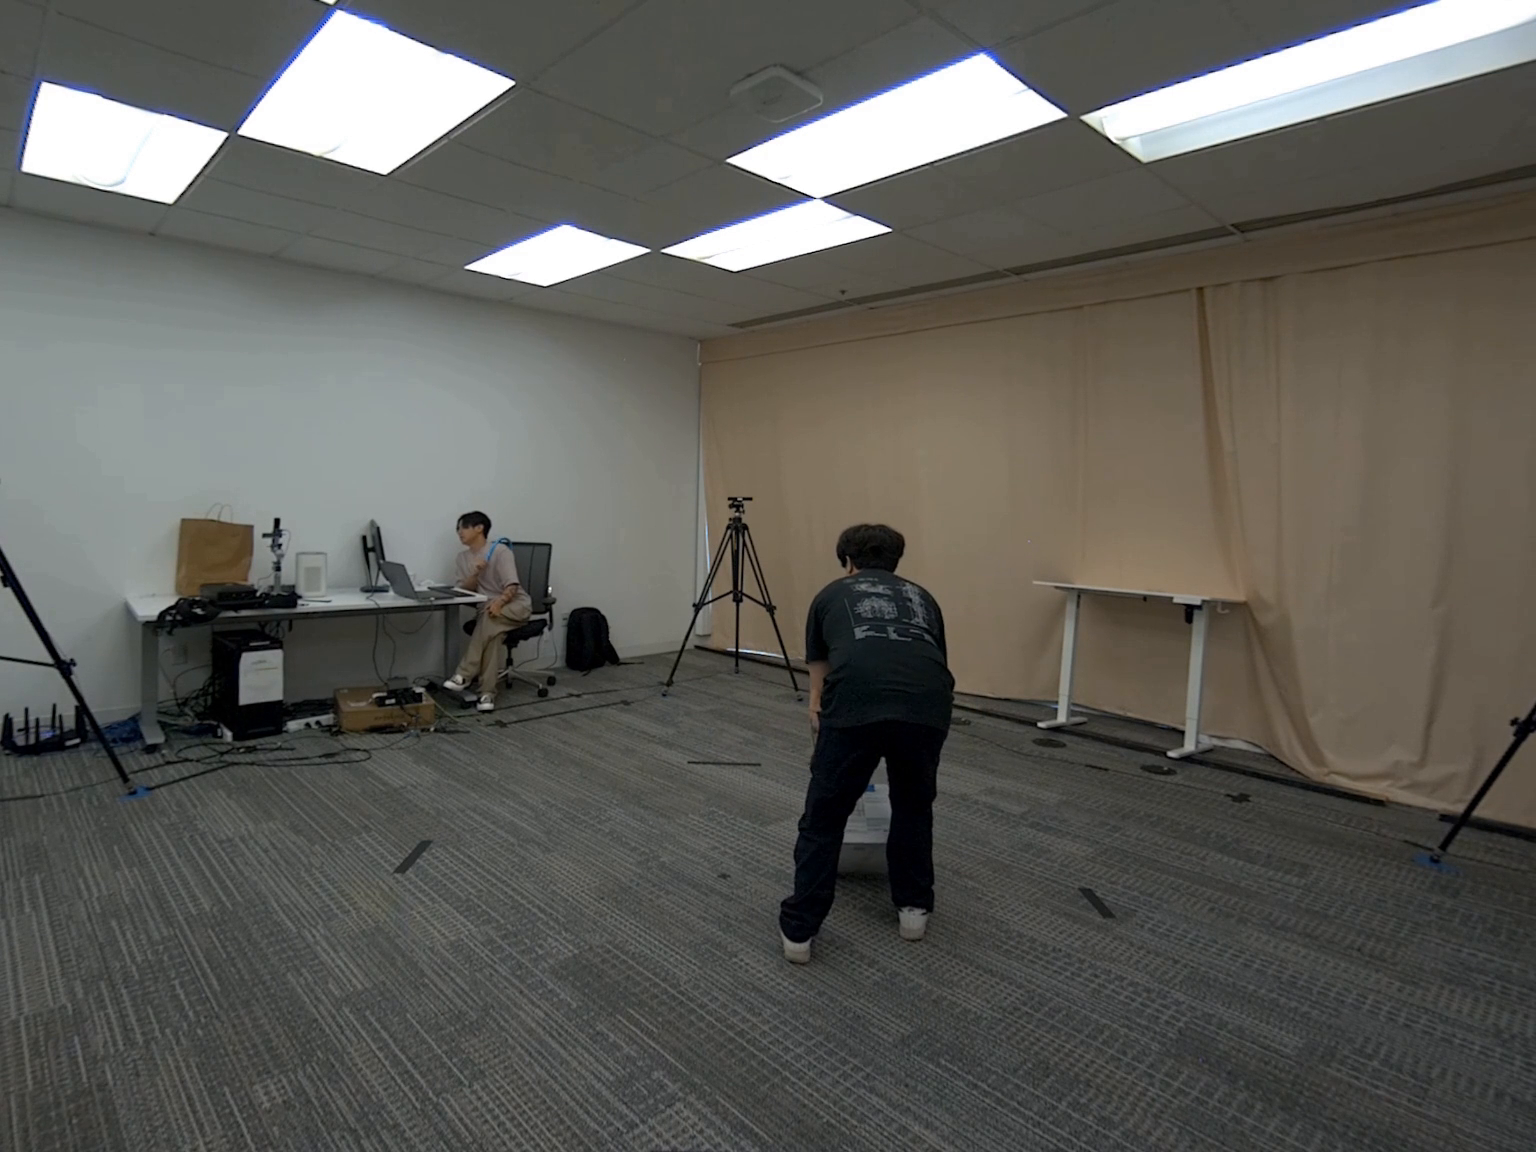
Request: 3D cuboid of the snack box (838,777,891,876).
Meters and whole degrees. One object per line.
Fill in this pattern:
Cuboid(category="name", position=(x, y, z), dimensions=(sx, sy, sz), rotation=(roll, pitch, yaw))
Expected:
Cuboid(category="snack box", position=(0.336, 0.924, 3.042), dimensions=(0.339, 0.210, 0.398), rotation=(1, -34, -5))
